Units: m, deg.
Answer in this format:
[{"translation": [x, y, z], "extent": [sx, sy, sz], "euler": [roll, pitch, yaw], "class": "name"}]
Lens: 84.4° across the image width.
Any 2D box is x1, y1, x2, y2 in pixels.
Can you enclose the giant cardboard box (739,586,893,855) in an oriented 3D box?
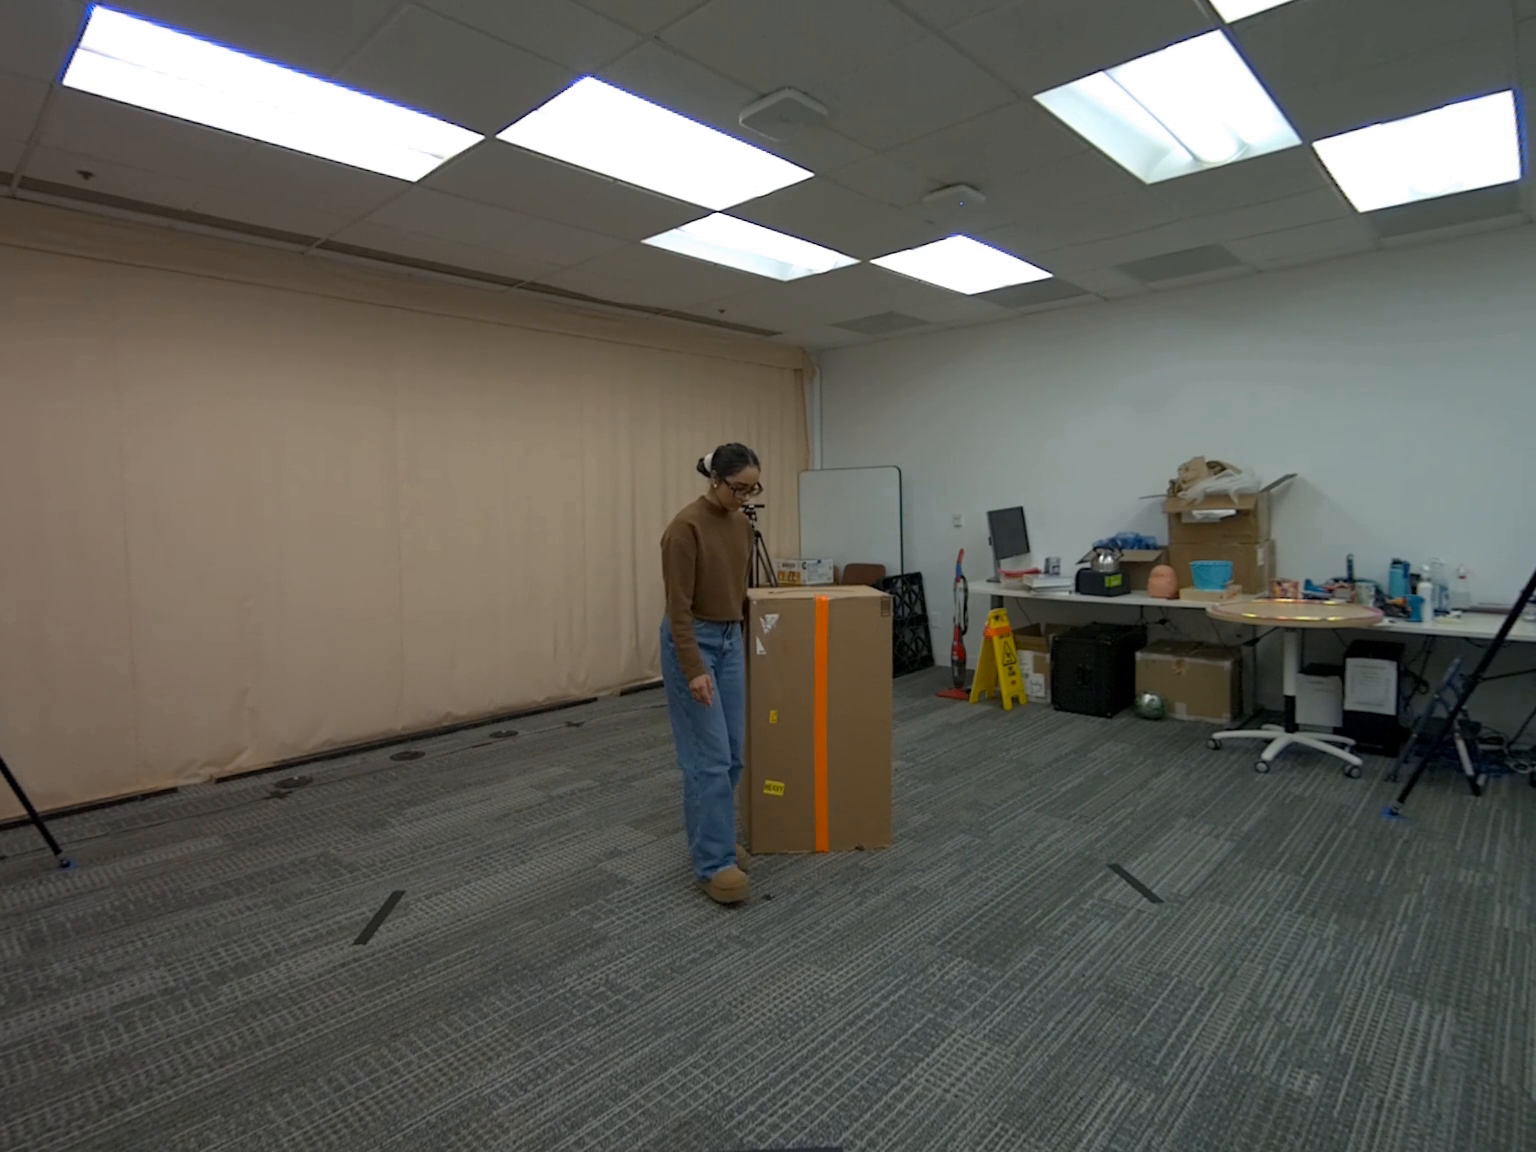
[{"translation": [0.191, 0.576, 3.563], "extent": [0.574, 1.023, 0.430], "euler": [-1, 3, -7], "class": "giant cardboard box"}]
